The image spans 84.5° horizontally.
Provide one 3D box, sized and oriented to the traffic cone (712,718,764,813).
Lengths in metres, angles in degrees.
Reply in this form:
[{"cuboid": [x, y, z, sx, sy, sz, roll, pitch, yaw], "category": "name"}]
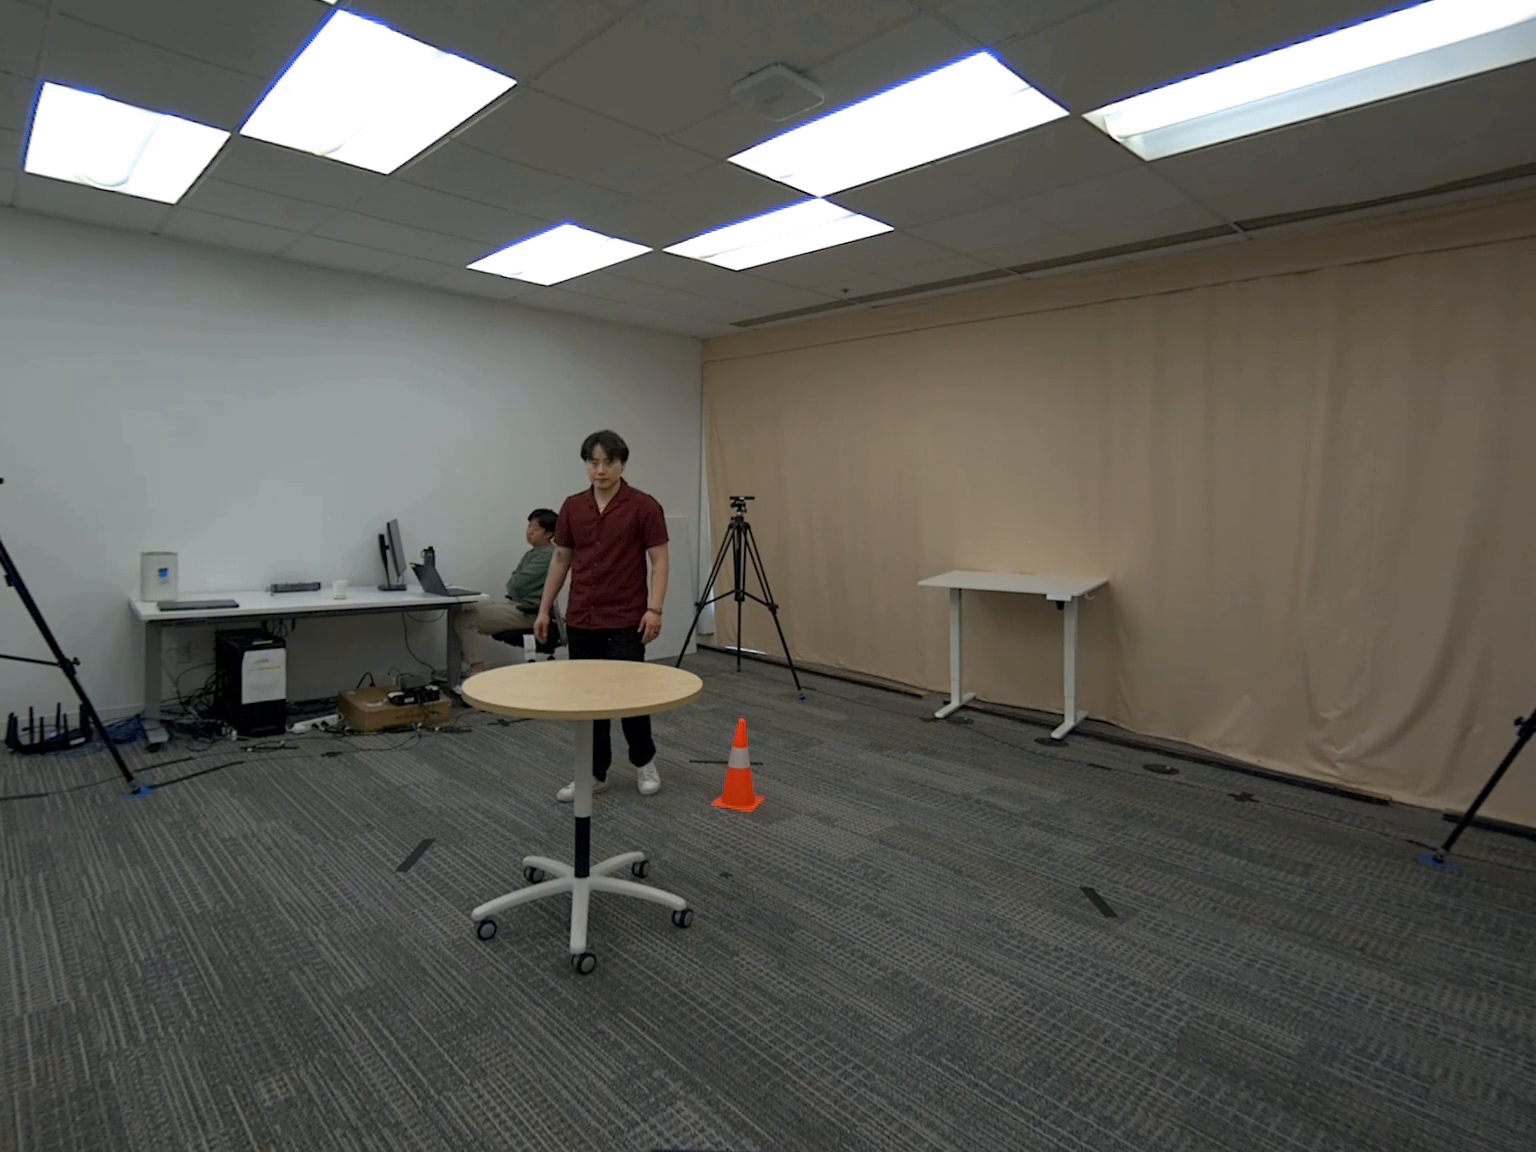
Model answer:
[{"cuboid": [-0.143, 0.854, 3.870, 0.209, 0.383, 0.200, 3, 2, 23], "category": "traffic cone"}]
